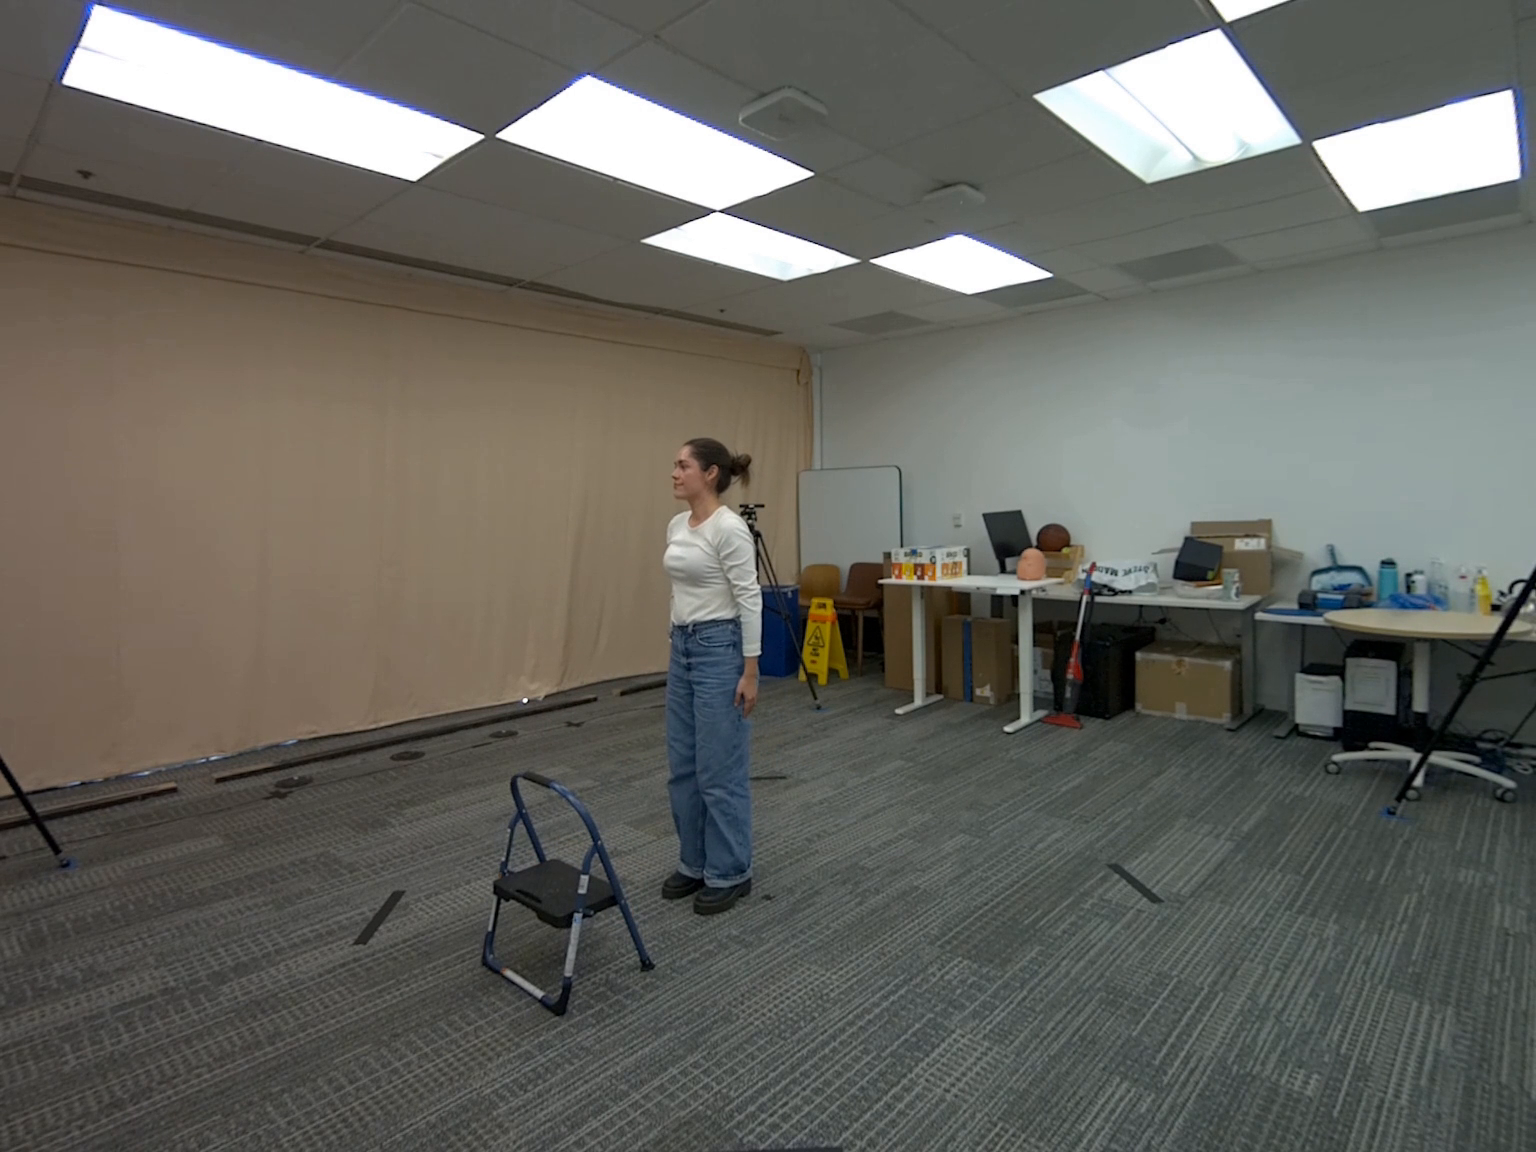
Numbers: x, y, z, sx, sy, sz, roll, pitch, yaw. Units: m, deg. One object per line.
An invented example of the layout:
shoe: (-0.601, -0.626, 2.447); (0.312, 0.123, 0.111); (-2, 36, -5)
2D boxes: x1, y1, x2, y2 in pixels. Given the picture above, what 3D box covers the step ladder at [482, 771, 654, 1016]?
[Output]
step ladder: (-0.621, 0.888, 2.550); (0.445, 0.605, 0.339); (1, 4, 41)
